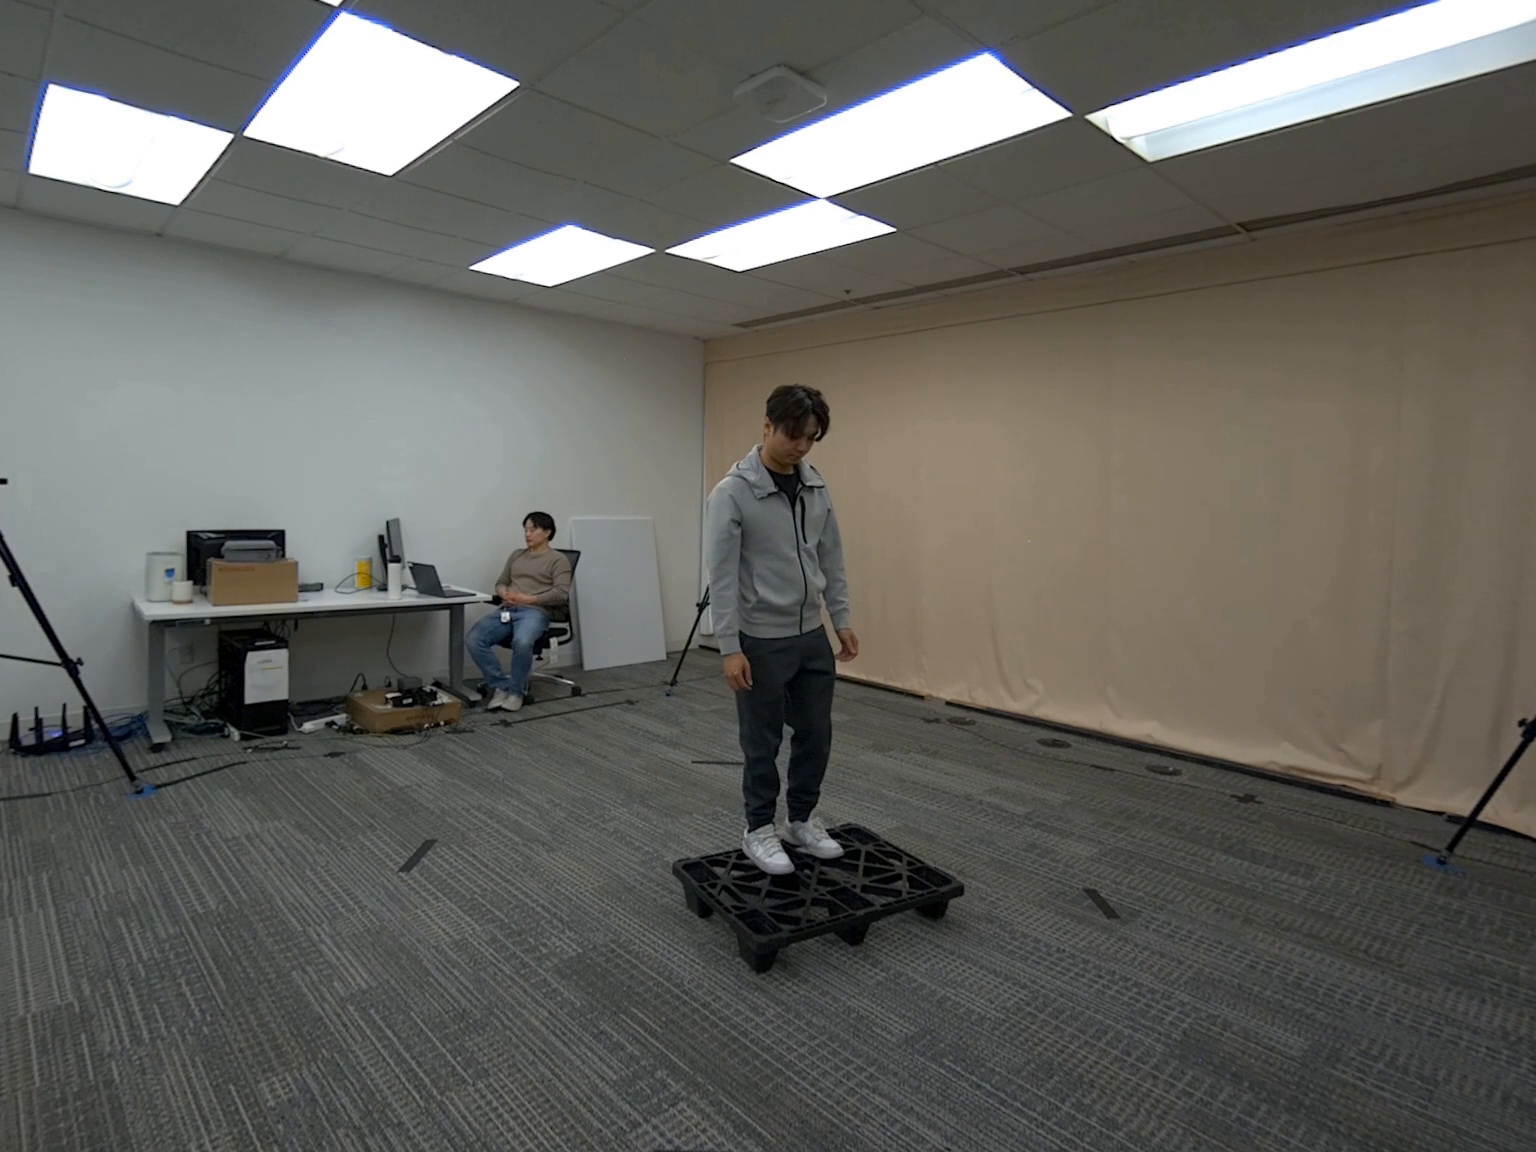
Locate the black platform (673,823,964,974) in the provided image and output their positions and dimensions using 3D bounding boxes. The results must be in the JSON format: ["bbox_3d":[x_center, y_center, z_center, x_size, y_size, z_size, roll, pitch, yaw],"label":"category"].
[{"bbox_3d":[0.144,1.070,2.845,0.789,0.143,0.619,-2,5,-30],"label":"black platform"}]
